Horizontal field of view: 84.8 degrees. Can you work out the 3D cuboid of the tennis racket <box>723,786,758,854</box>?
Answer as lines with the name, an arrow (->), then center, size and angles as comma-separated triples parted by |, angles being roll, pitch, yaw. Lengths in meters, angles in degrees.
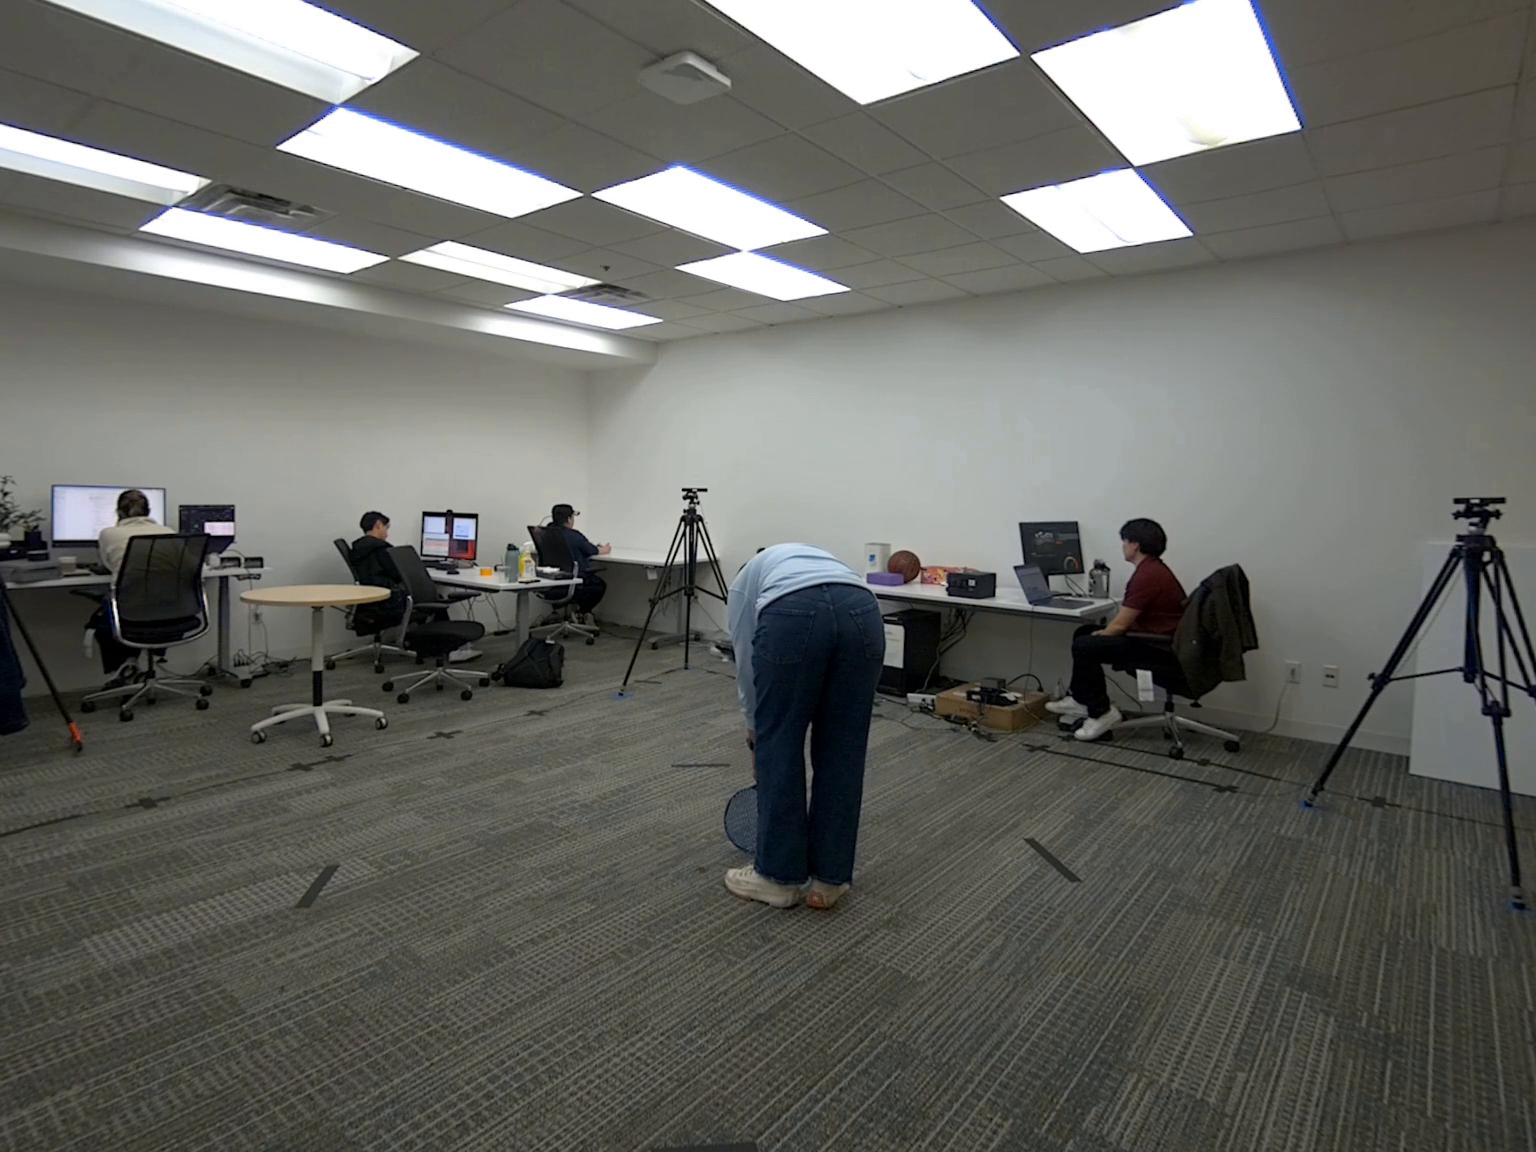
tennis racket -> -0.048, 0.856, 3.223 | 0.218, 0.430, 0.031 | 24, 13, 13
